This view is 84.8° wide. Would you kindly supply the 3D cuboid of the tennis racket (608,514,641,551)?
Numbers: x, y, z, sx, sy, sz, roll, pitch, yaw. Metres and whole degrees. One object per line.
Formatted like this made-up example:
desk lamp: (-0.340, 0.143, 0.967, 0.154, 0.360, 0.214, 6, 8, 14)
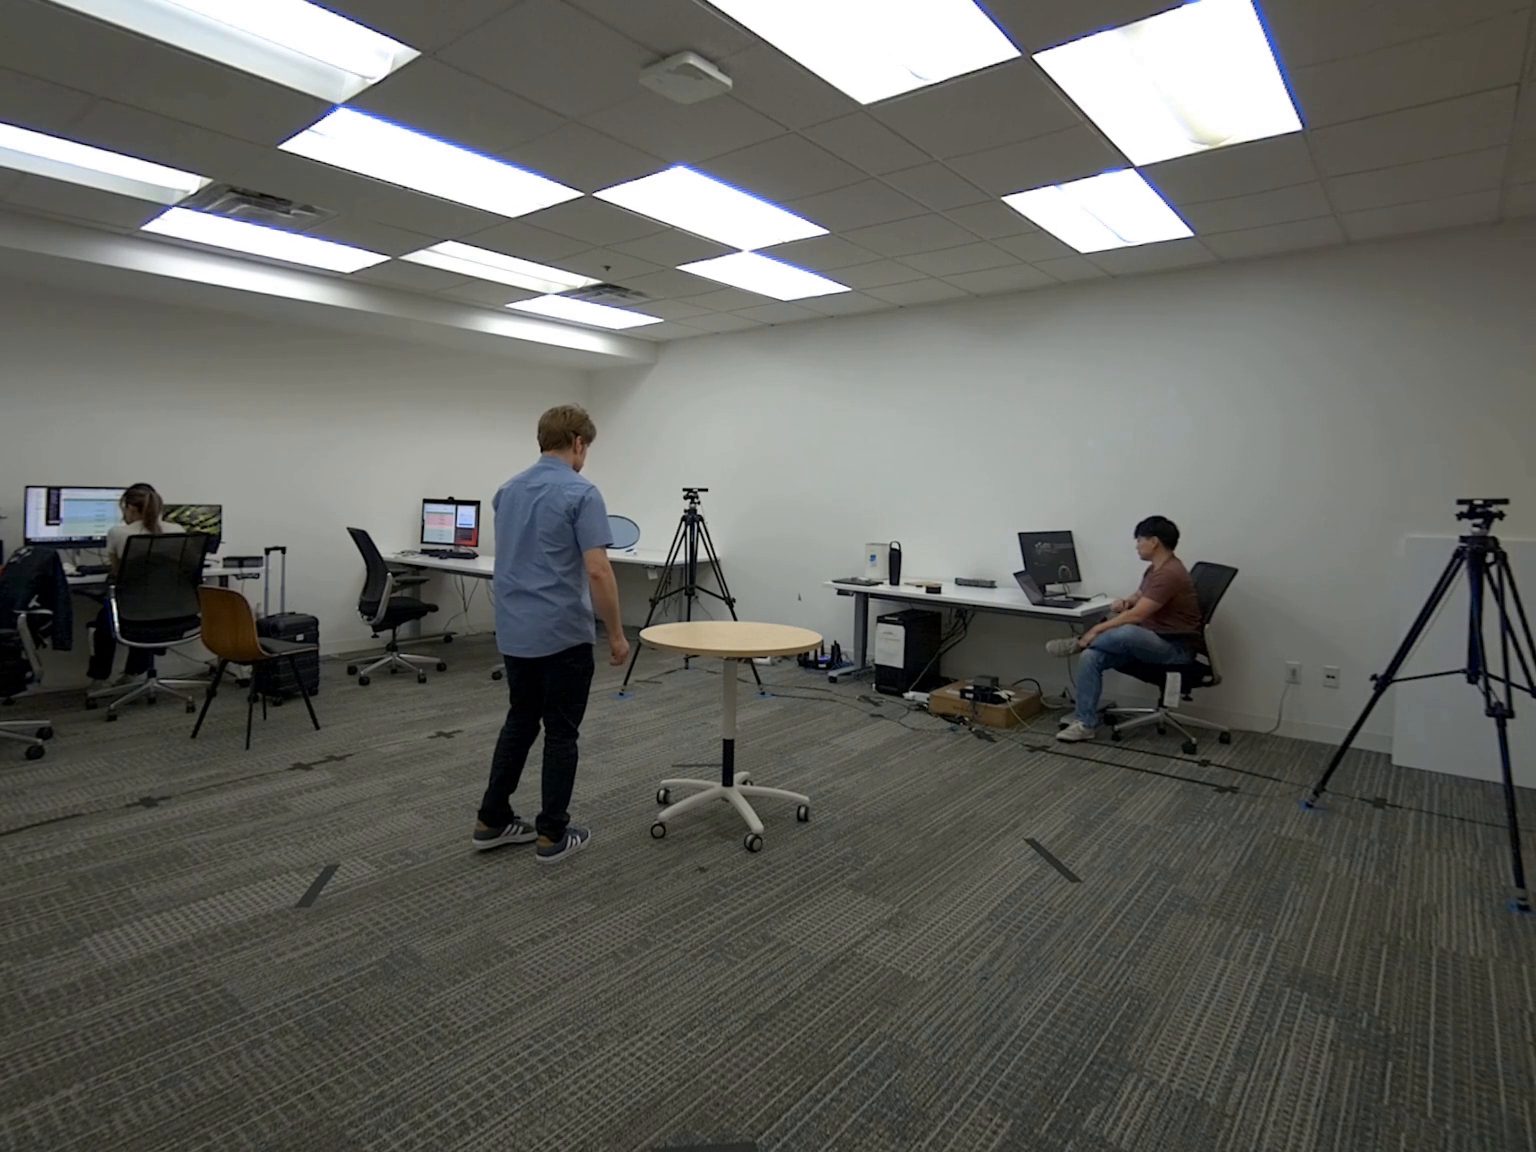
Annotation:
tennis racket: (-0.687, -0.157, 3.579, 0.217, 0.031, 0.433, 25, 33, 9)
